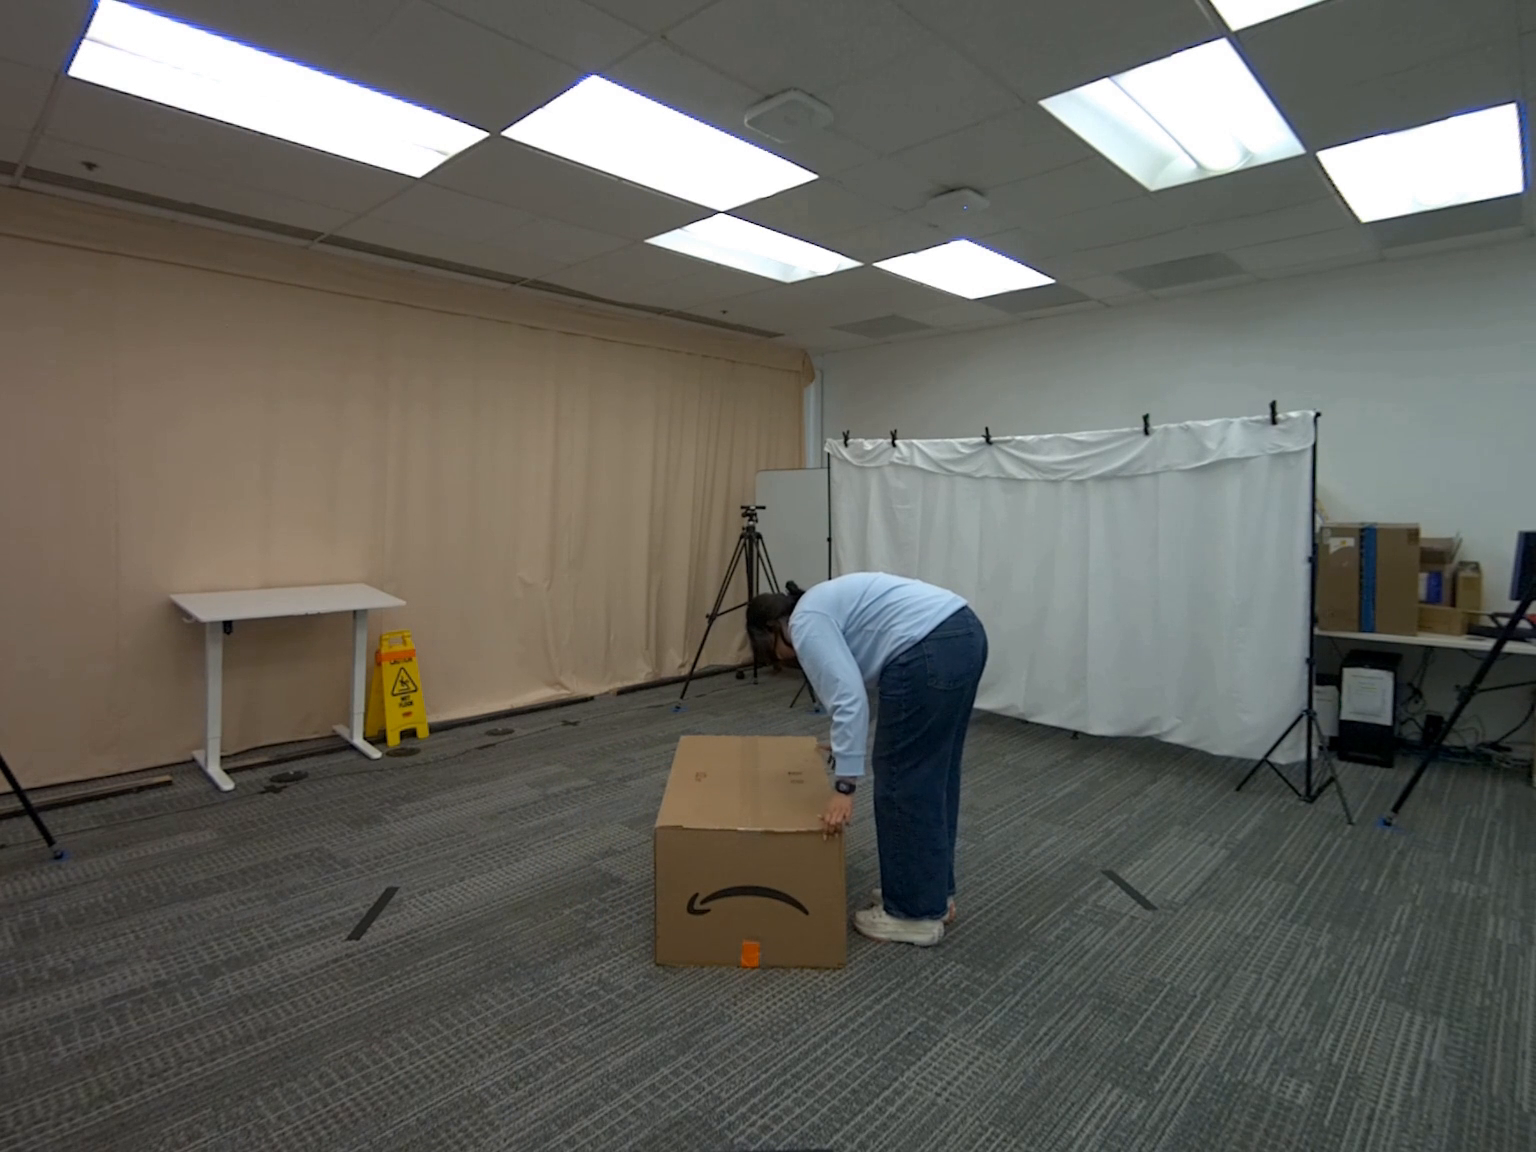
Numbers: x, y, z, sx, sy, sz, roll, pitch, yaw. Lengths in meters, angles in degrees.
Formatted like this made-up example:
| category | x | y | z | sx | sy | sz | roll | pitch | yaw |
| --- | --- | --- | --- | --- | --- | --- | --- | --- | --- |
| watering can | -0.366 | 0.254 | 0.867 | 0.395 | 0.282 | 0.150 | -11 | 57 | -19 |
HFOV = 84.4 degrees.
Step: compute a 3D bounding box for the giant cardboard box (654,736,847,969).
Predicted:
| category | x | y | z | sx | sy | sz | roll | pitch | yaw |
| --- | --- | --- | --- | --- | --- | --- | --- | --- | --- |
| giant cardboard box | -0.068 | 0.925 | 3.036 | 0.578 | 0.425 | 1.027 | 1 | 5 | -1 |
